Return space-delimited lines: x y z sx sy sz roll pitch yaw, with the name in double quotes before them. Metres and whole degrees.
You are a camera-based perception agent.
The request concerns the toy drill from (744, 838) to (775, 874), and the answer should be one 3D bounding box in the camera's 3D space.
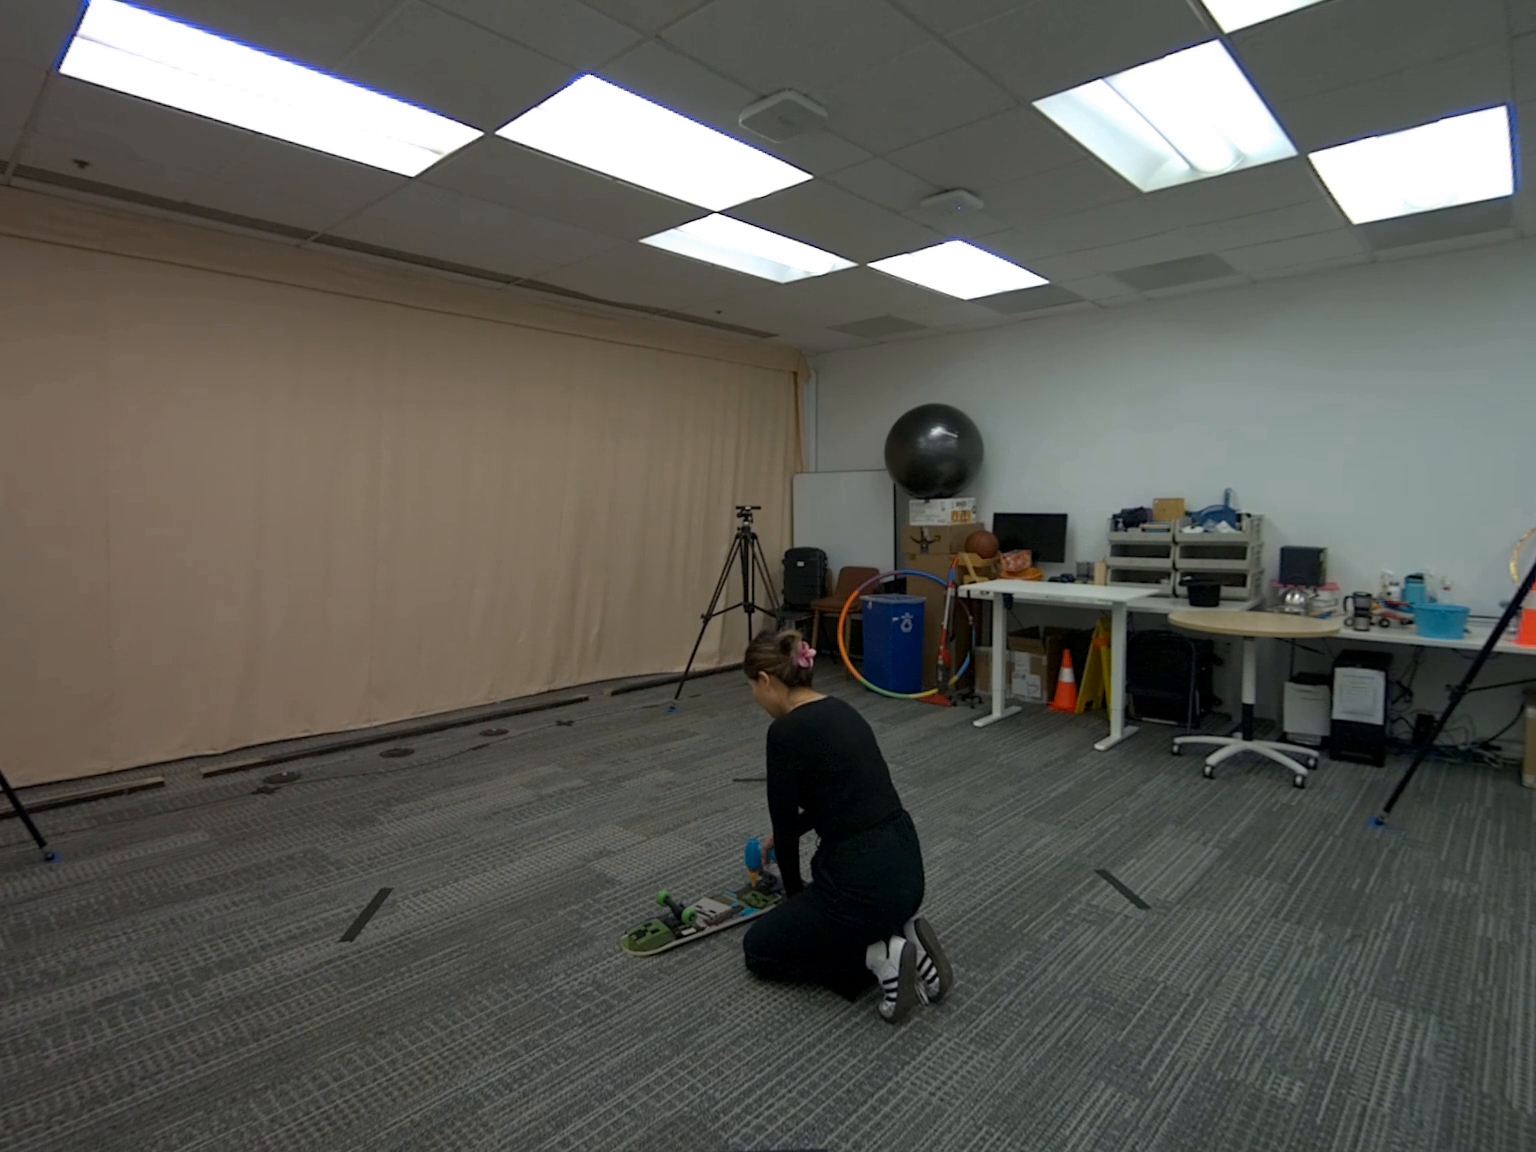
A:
"toy drill" -0.010 0.999 2.886 0.150 0.169 0.060 1 2 25
